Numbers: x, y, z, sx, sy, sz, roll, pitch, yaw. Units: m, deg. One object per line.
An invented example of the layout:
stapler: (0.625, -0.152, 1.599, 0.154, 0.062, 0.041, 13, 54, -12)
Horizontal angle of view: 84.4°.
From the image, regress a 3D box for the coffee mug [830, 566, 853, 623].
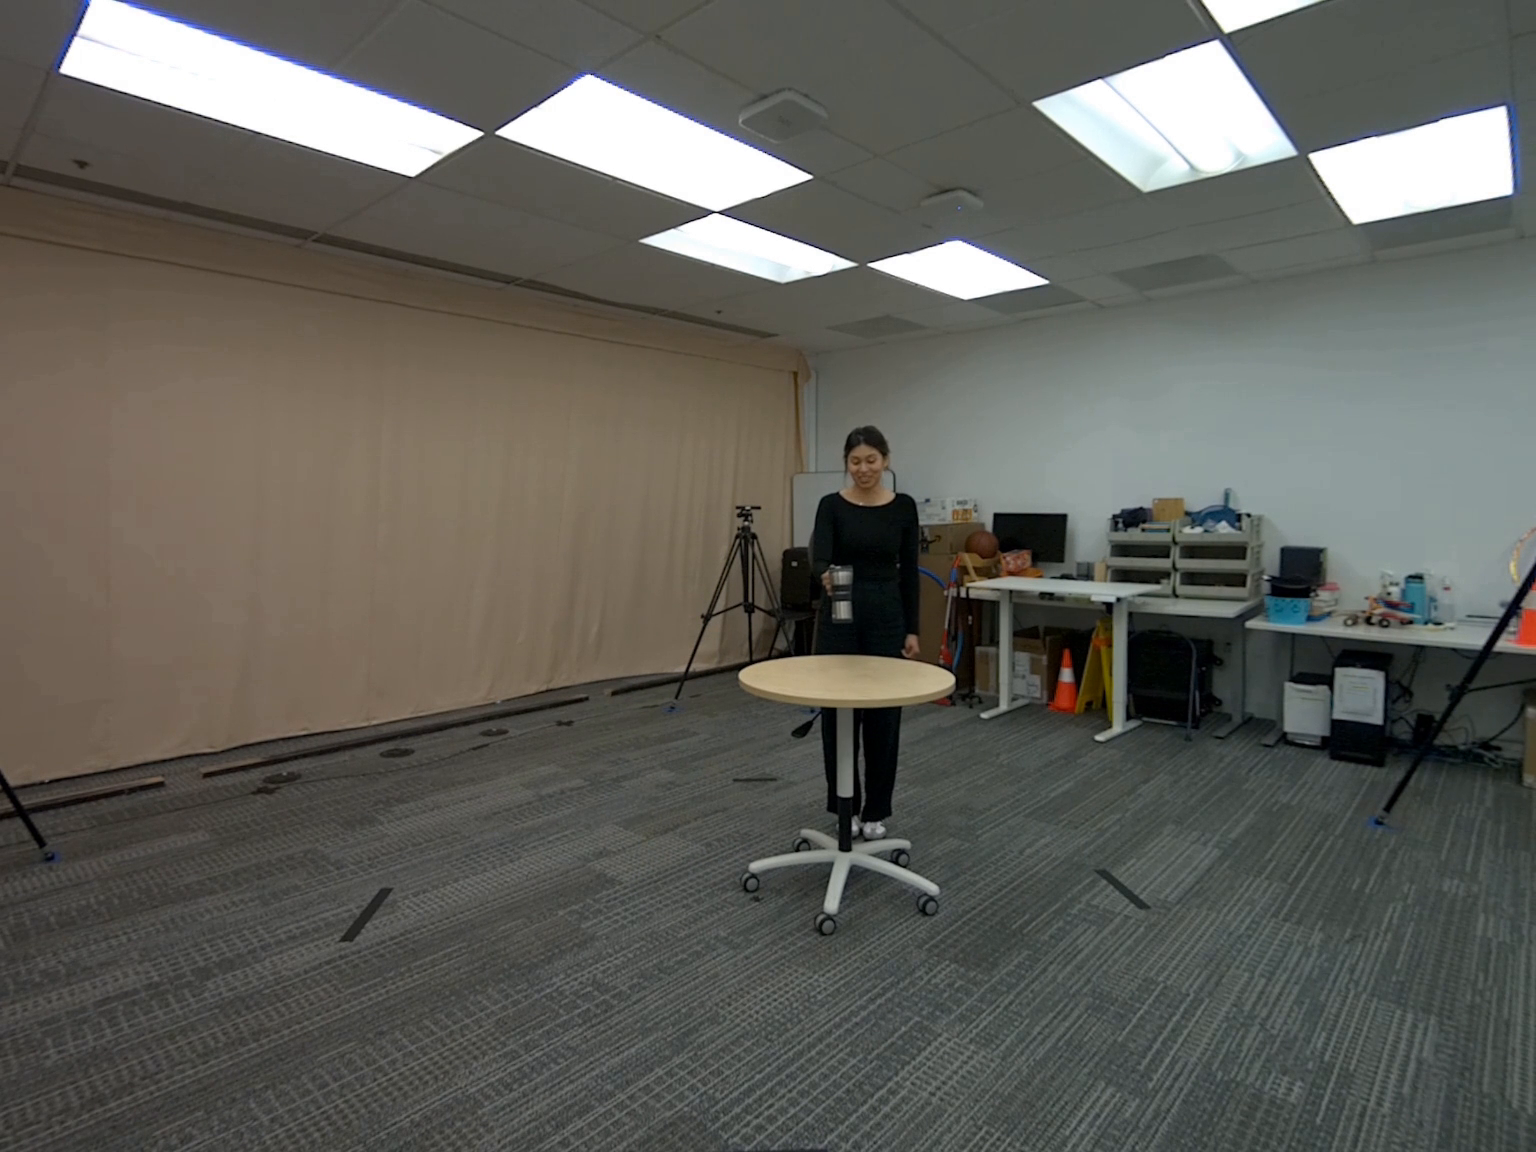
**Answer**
coffee mug: (0.296, 0.067, 3.039, 0.090, 0.203, 0.119, -9, -3, 24)
